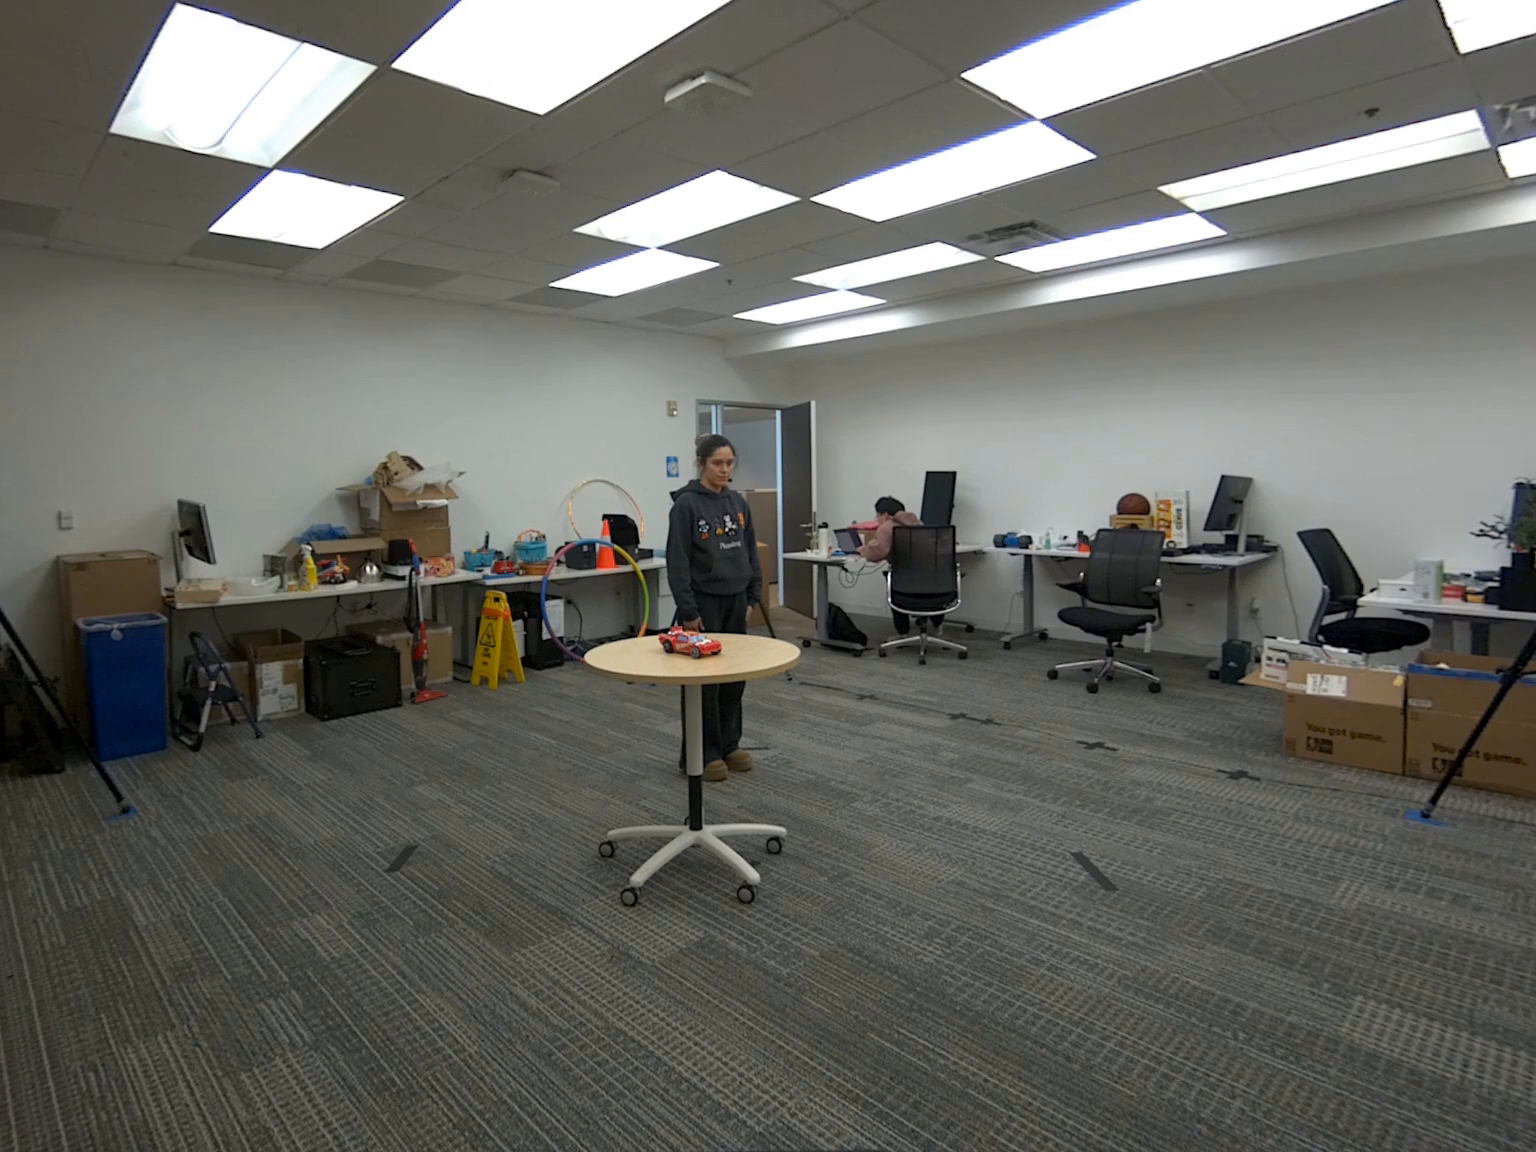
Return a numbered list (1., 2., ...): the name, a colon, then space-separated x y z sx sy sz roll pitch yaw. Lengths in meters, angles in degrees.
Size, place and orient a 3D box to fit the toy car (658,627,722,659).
1. toy car: -0.288 0.246 3.028 0.127 0.082 0.264 -6 18 -45
